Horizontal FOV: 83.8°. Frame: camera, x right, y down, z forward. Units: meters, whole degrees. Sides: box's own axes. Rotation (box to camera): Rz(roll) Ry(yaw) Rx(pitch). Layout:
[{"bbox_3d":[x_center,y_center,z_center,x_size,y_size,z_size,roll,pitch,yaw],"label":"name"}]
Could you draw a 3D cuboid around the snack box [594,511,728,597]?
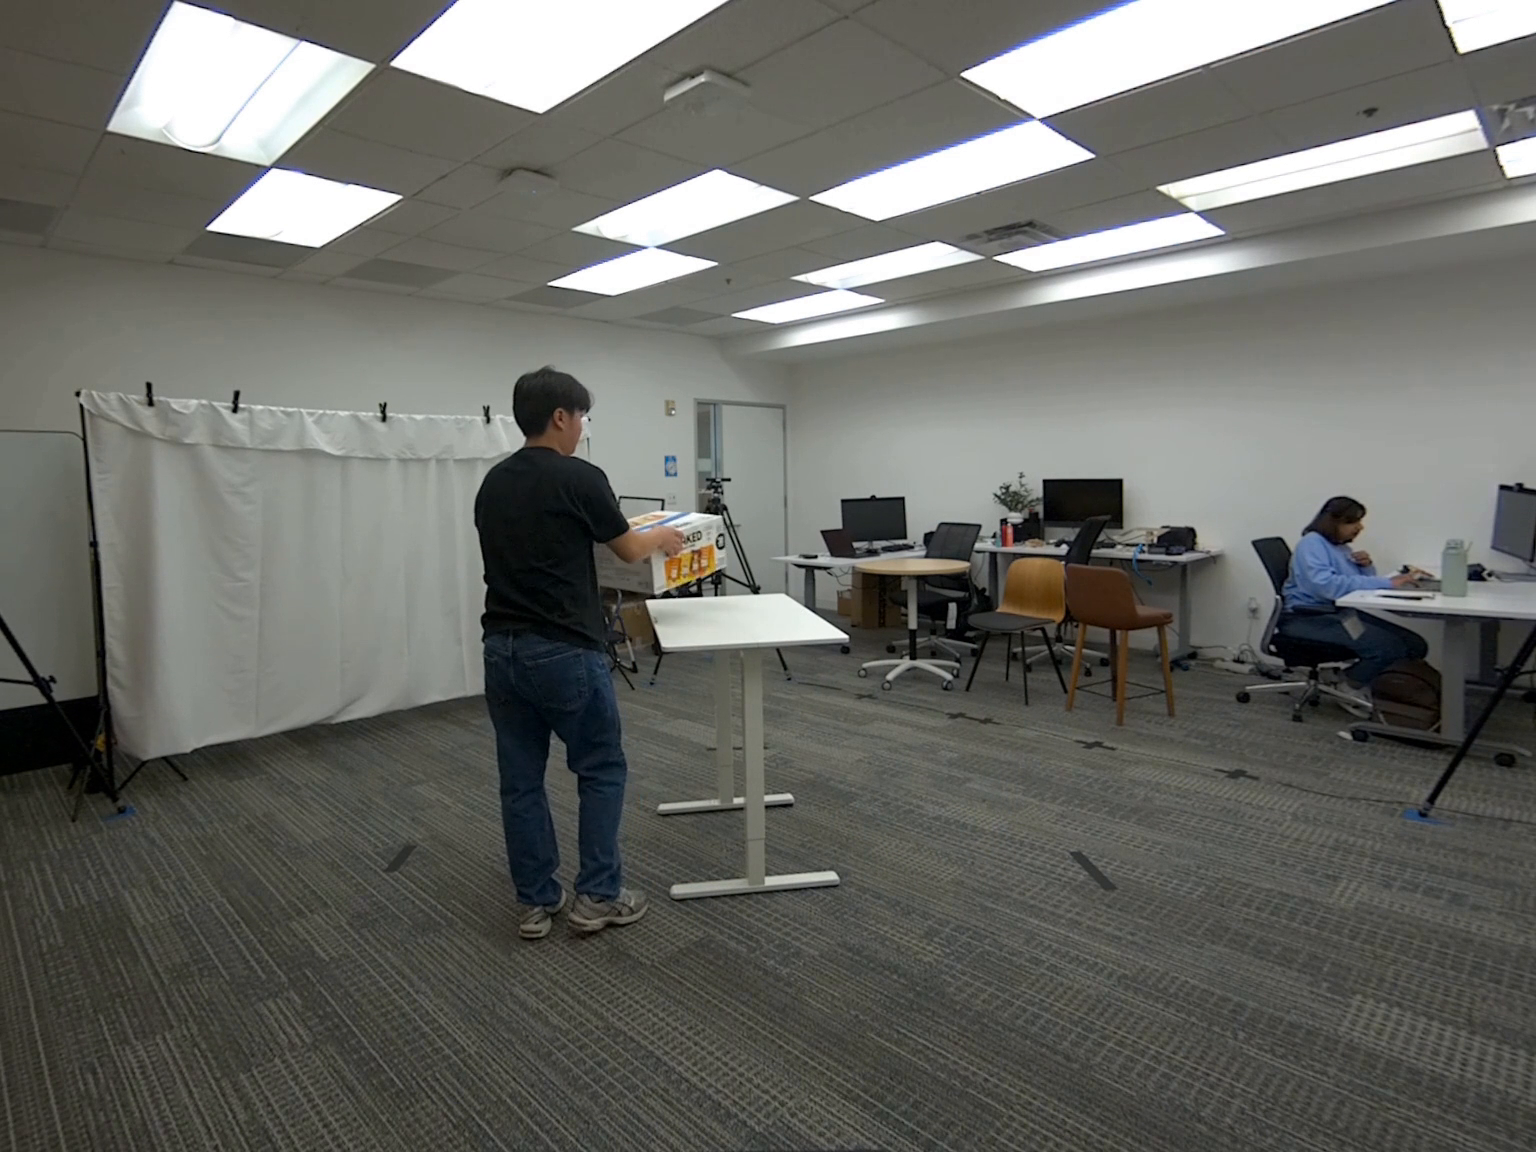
[{"bbox_3d":[-0.419,-0.087,3.228,0.351,0.203,0.398,7,19,37],"label":"snack box"}]
